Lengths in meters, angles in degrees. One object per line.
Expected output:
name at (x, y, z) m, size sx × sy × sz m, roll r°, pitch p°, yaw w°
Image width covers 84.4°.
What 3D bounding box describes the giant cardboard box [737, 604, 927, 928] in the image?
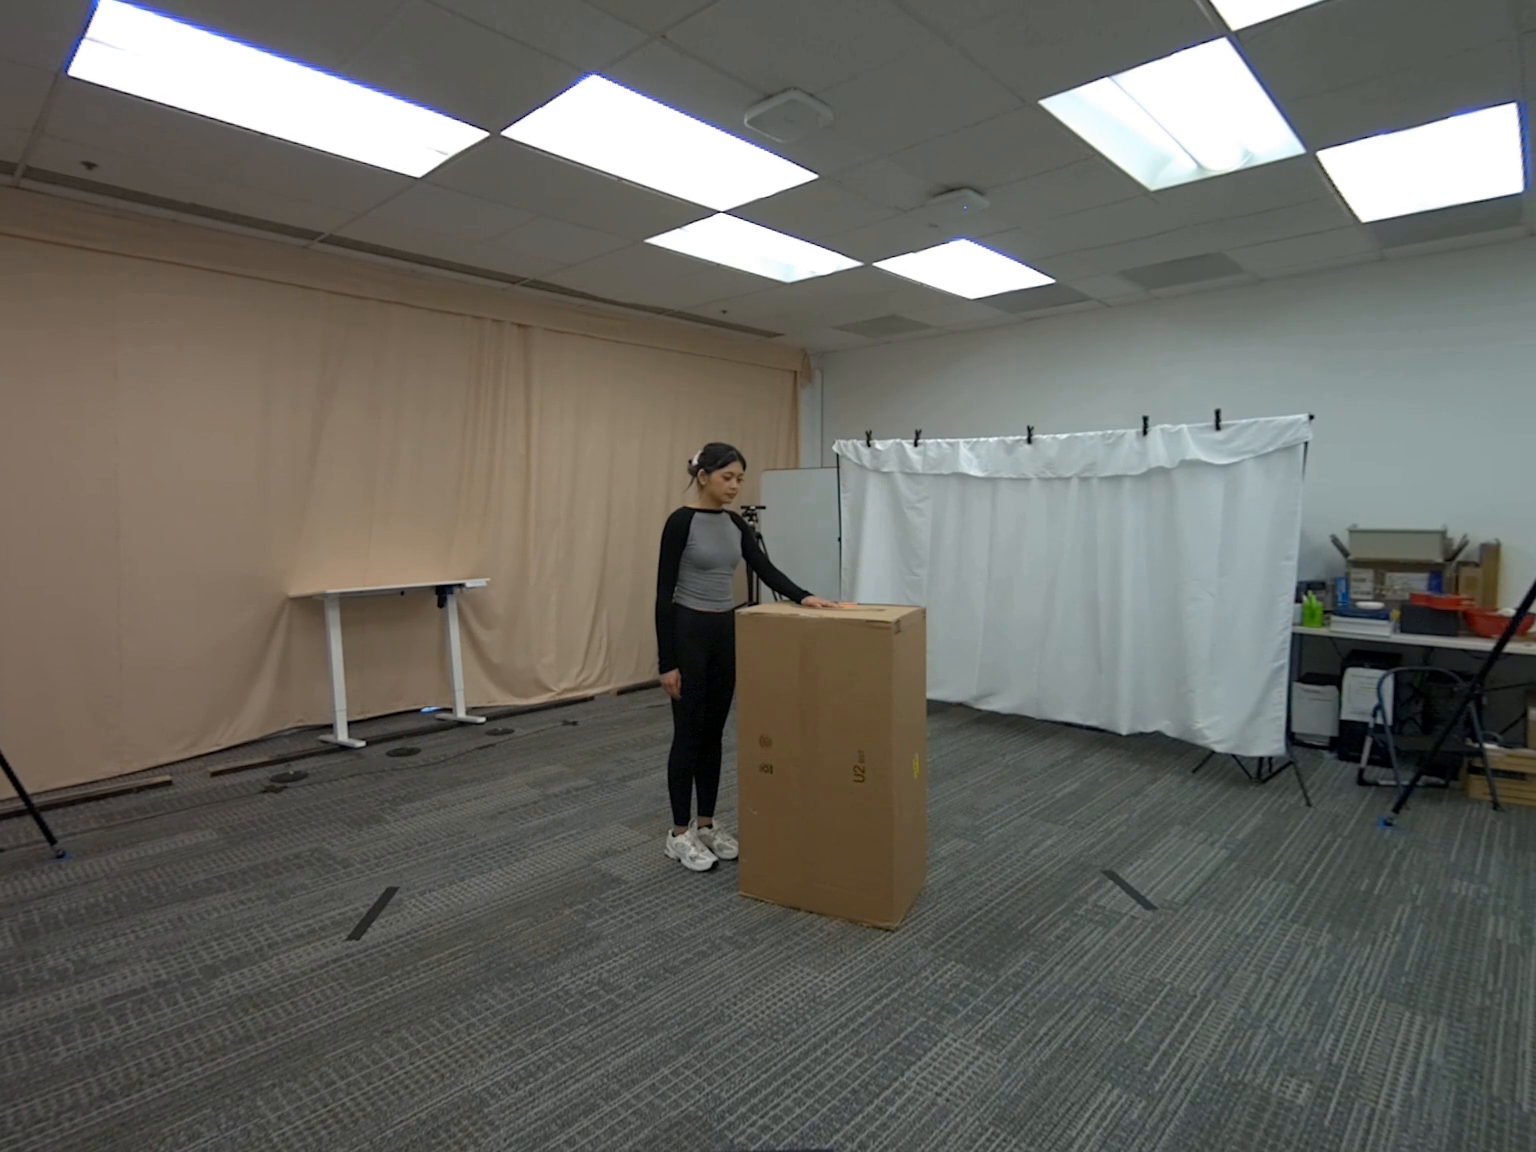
giant cardboard box at (0.243, 0.632, 3.041) m, size 0.599 × 1.025 × 0.436 m, roll 1°, pitch 4°, yaw 26°
